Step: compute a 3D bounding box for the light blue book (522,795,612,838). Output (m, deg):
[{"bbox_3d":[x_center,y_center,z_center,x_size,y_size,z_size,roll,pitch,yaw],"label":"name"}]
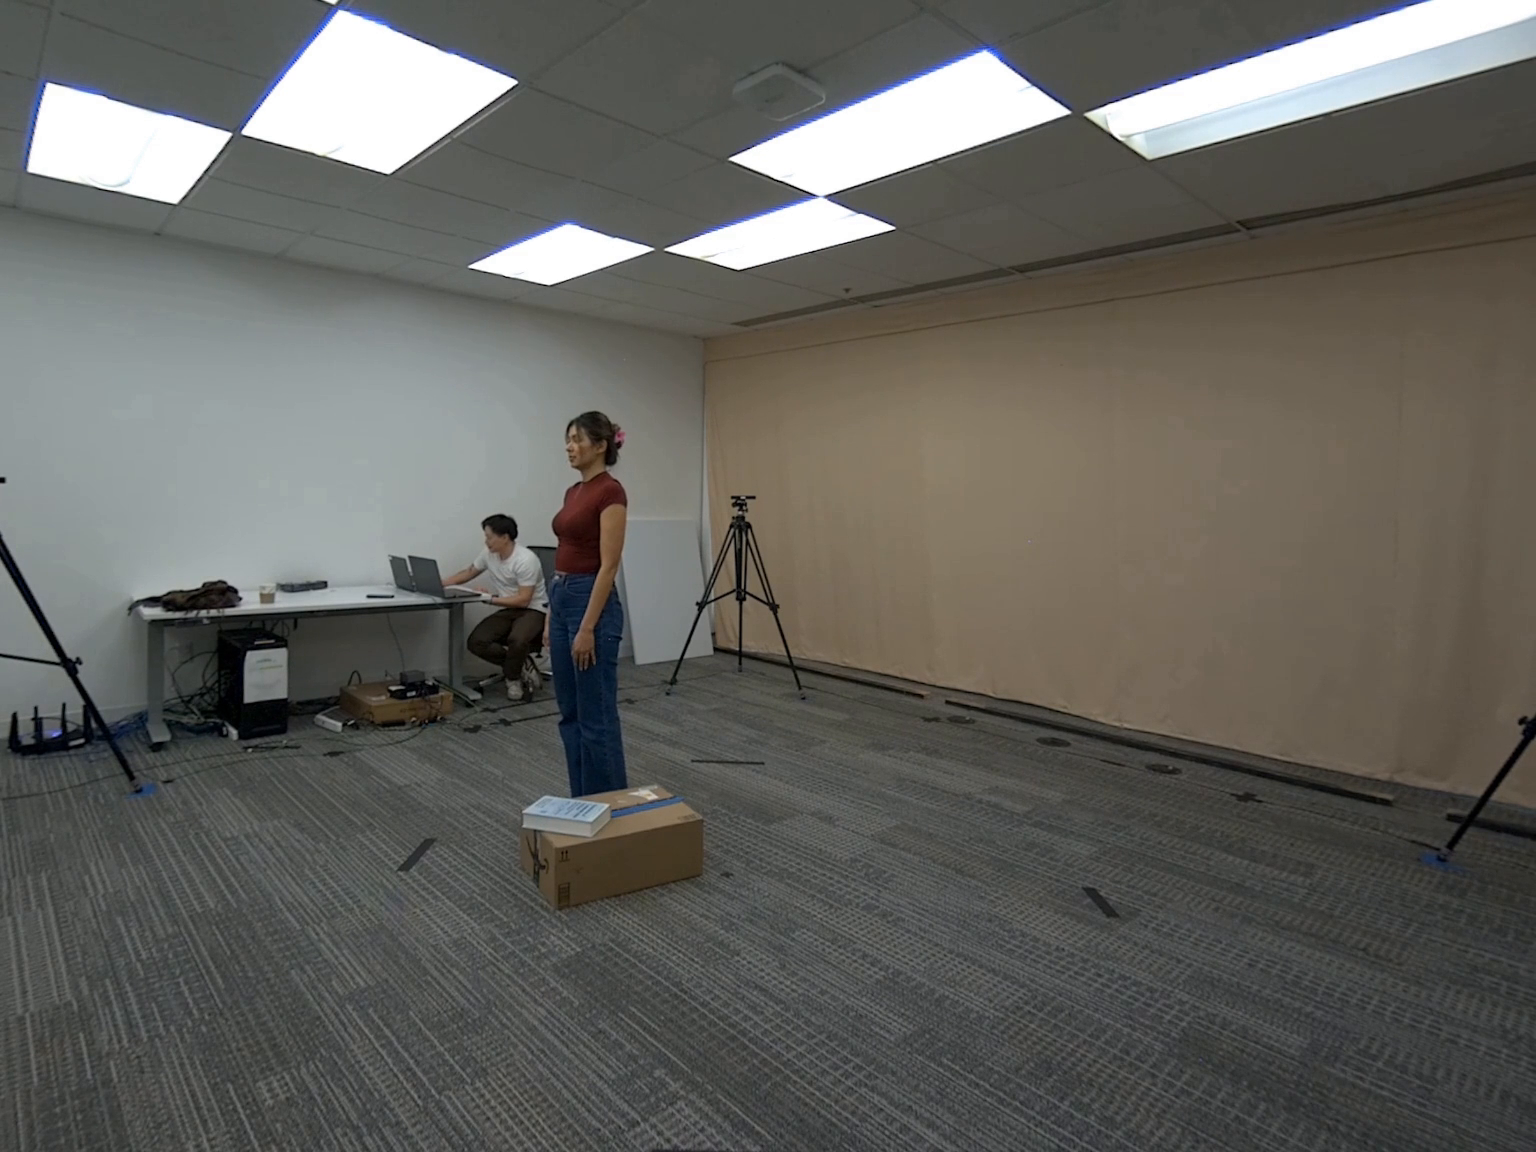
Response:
[{"bbox_3d":[-0.727,0.857,3.002,0.264,0.059,0.190,4,5,12],"label":"light blue book"}]
